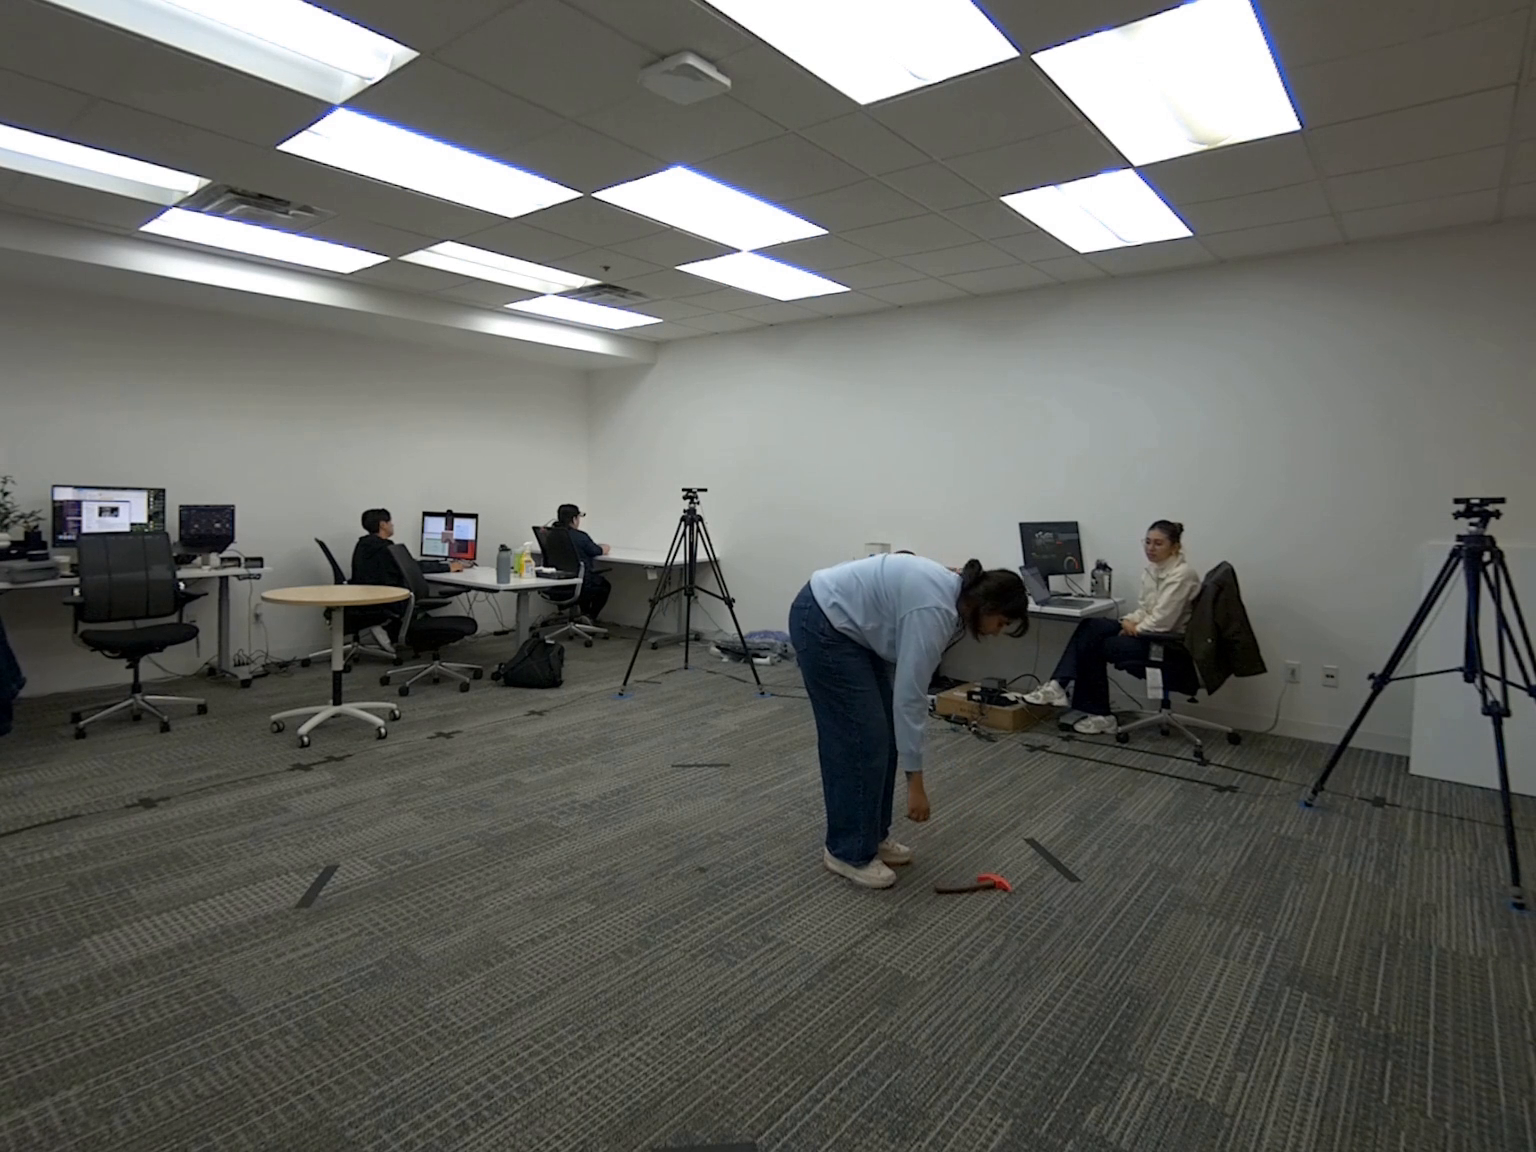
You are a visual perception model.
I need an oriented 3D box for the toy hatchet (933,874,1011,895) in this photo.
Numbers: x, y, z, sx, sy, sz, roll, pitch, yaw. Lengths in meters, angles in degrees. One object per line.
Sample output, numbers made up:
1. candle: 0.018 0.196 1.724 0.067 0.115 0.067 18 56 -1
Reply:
1. toy hatchet: 0.706 1.083 3.032 0.269 0.029 0.132 0 6 -2
